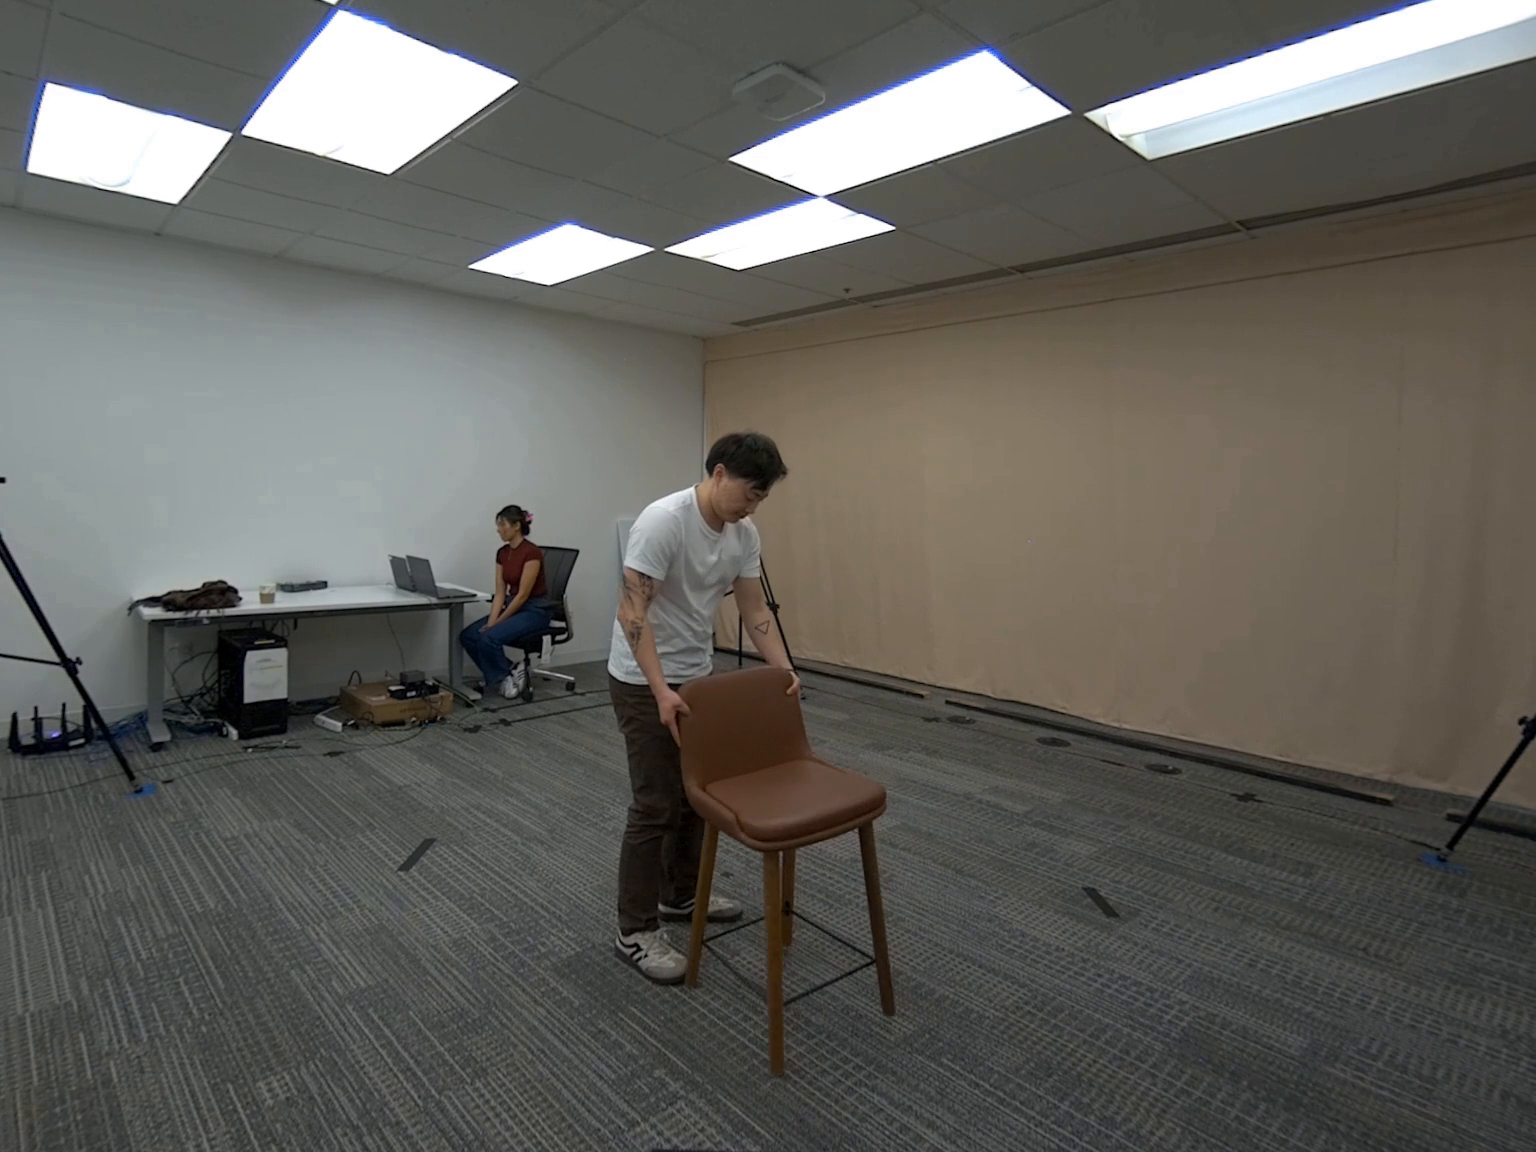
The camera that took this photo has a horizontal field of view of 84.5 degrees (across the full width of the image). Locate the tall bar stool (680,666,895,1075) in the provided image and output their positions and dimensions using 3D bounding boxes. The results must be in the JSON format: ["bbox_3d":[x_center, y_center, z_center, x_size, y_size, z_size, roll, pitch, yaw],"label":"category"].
[{"bbox_3d":[0.034,0.730,2.297,0.447,0.888,0.478,-4,3,-36],"label":"tall bar stool"}]
